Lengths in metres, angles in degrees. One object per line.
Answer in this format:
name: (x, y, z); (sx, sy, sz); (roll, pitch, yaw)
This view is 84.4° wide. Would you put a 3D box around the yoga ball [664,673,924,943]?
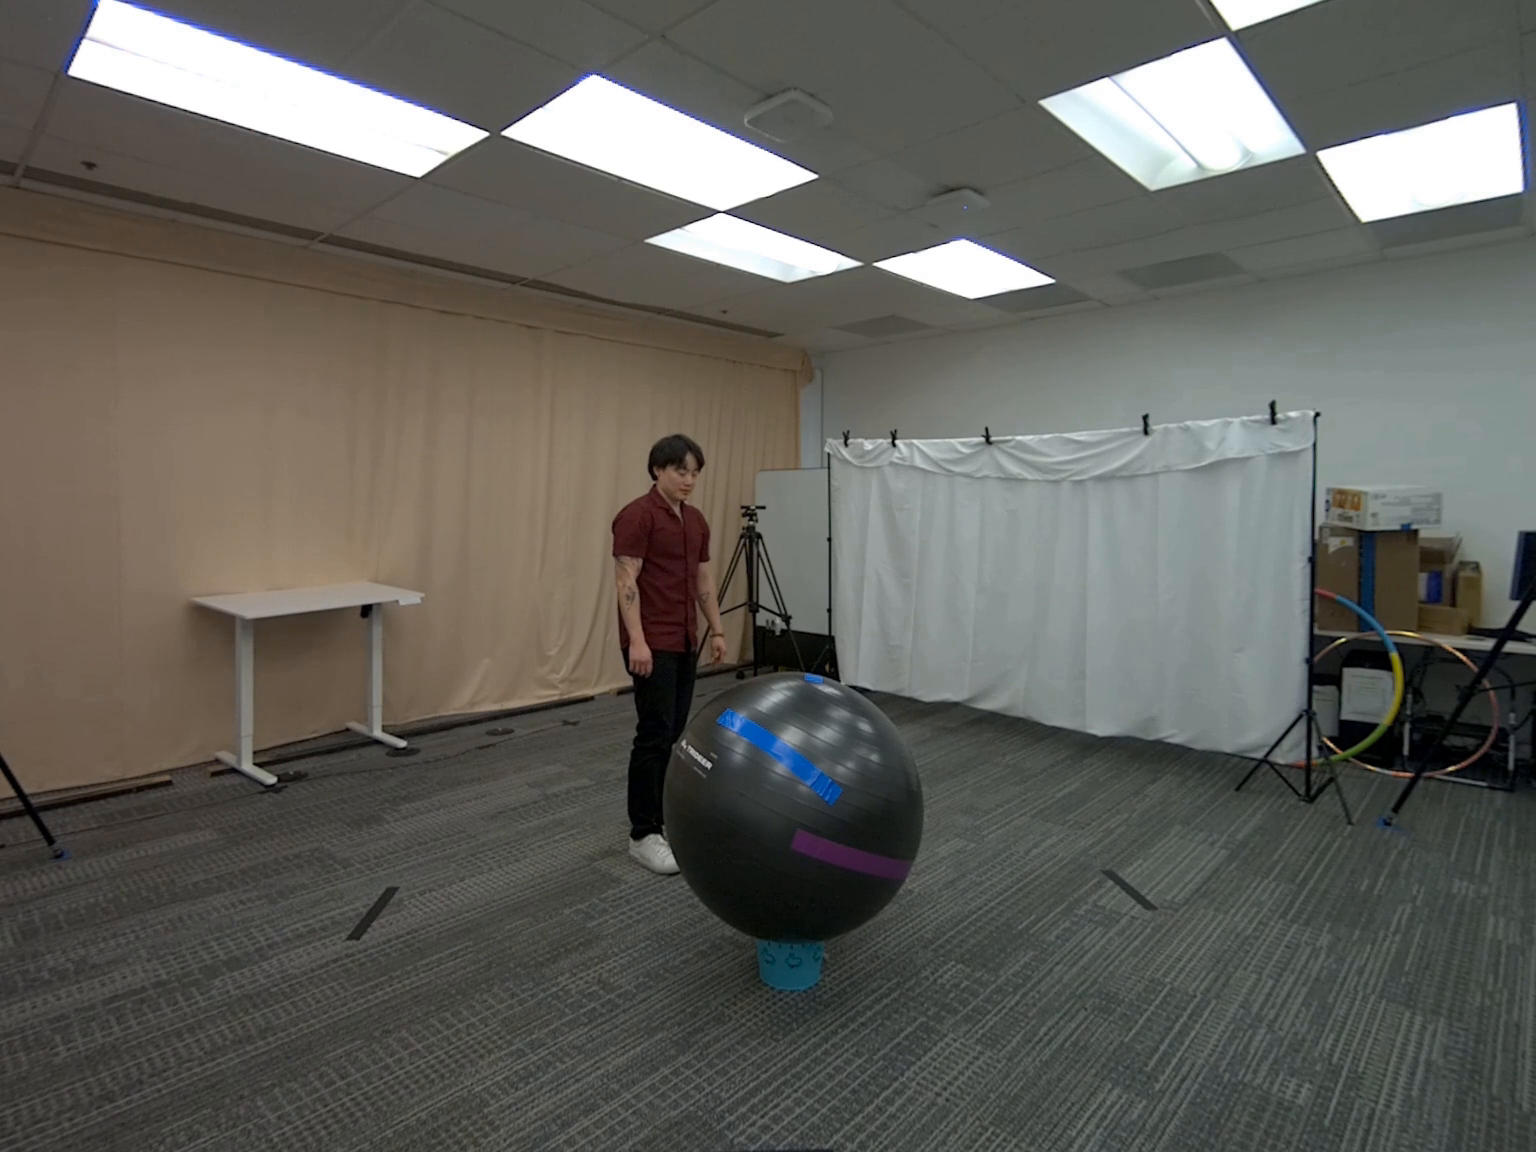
yoga ball: (0.077, 0.676, 2.487); (0.757, 0.756, 0.760); (0, 4, -2)
